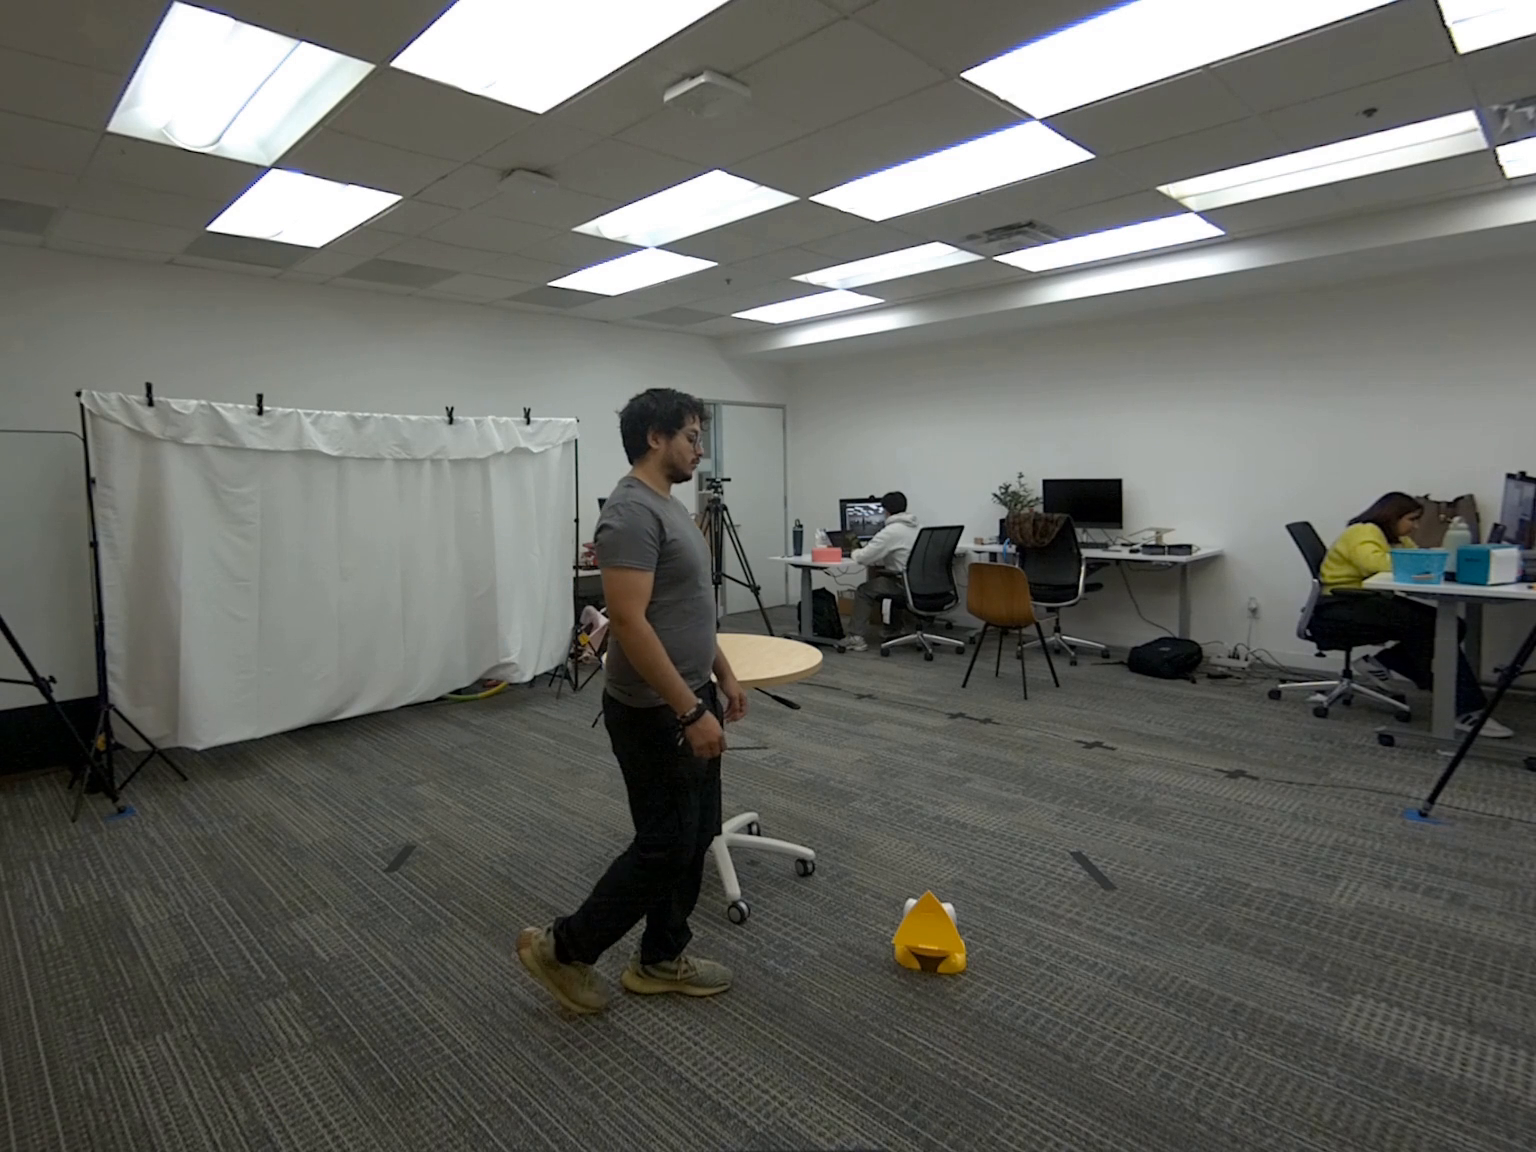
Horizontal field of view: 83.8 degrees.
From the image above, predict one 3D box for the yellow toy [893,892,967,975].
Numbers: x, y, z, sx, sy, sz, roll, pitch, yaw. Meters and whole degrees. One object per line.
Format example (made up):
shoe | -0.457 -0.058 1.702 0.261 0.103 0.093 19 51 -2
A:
yellow toy | 0.475 0.995 2.465 0.208 0.229 0.191 0 7 15
